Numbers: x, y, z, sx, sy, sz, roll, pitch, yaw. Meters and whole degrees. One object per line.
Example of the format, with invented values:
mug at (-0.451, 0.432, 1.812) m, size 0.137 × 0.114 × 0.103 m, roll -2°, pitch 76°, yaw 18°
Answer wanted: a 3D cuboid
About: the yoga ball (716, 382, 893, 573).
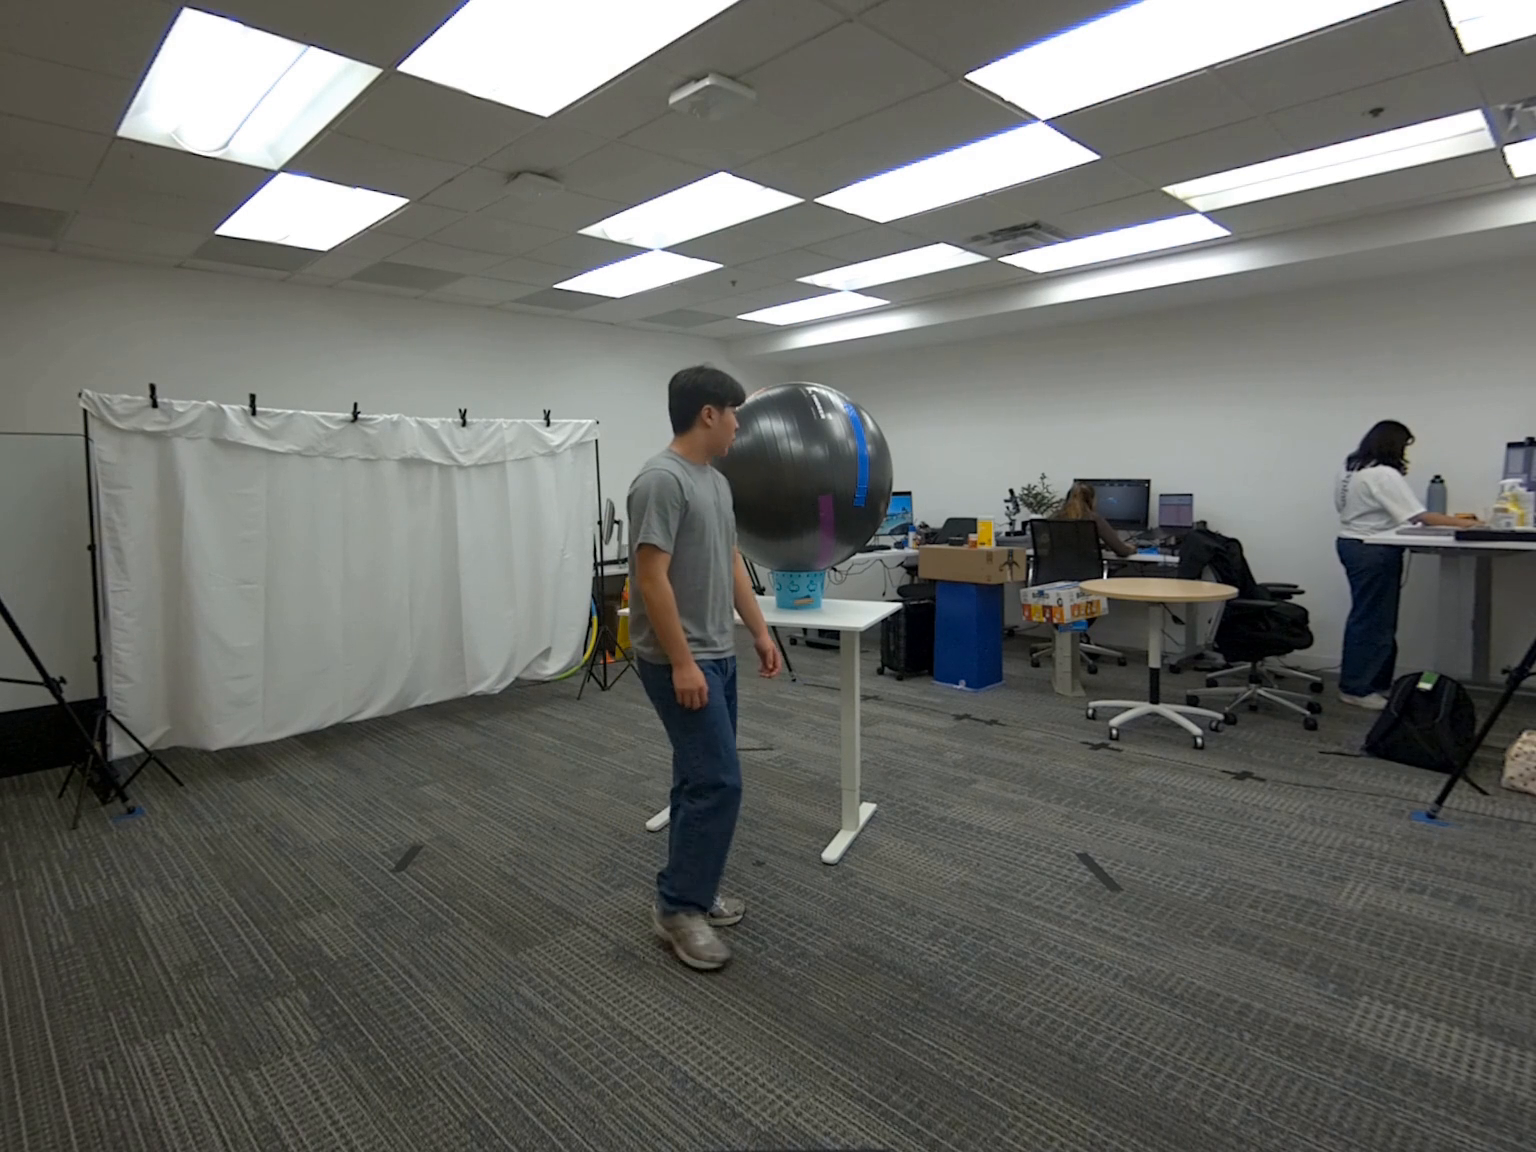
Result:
yoga ball at (0.110, -0.388, 3.431) m, size 0.757 × 0.755 × 0.762 m, roll -1°, pitch 5°, yaw -2°
